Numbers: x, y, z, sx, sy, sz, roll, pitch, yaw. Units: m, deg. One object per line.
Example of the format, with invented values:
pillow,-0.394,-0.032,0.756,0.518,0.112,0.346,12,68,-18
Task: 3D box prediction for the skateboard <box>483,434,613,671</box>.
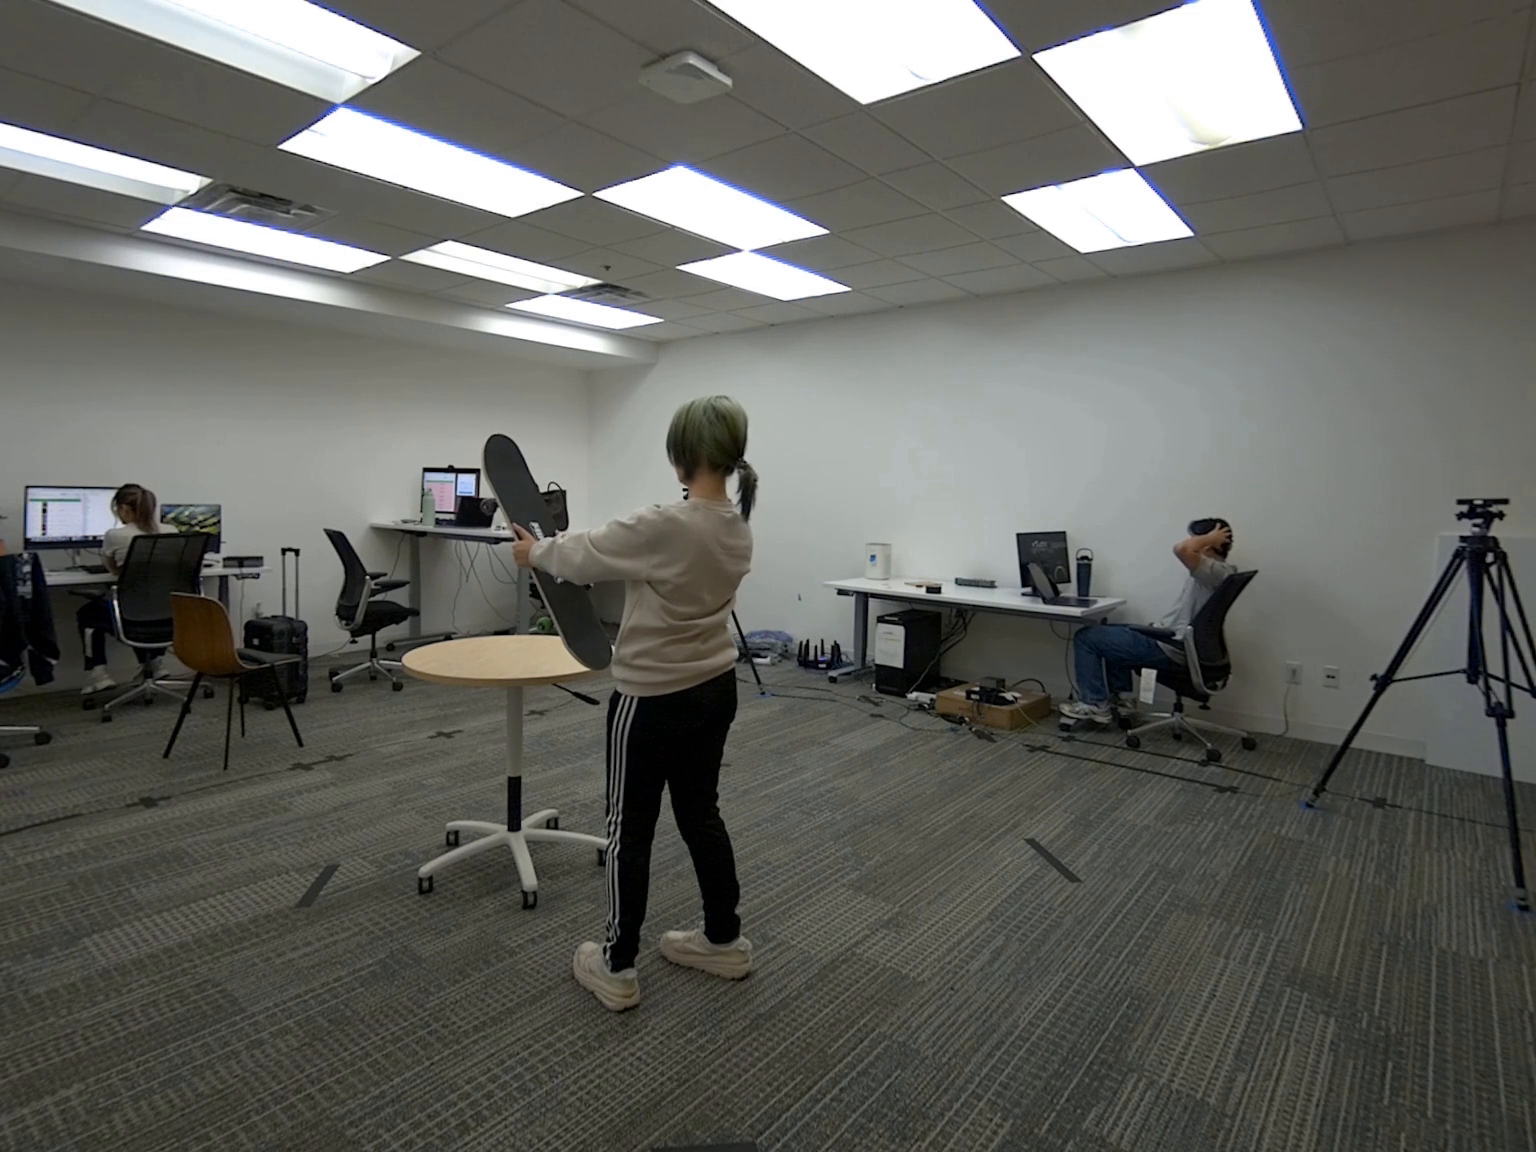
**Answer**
skateboard,-0.710,-0.059,2.608,0.112,0.786,0.191,-26,-1,28
